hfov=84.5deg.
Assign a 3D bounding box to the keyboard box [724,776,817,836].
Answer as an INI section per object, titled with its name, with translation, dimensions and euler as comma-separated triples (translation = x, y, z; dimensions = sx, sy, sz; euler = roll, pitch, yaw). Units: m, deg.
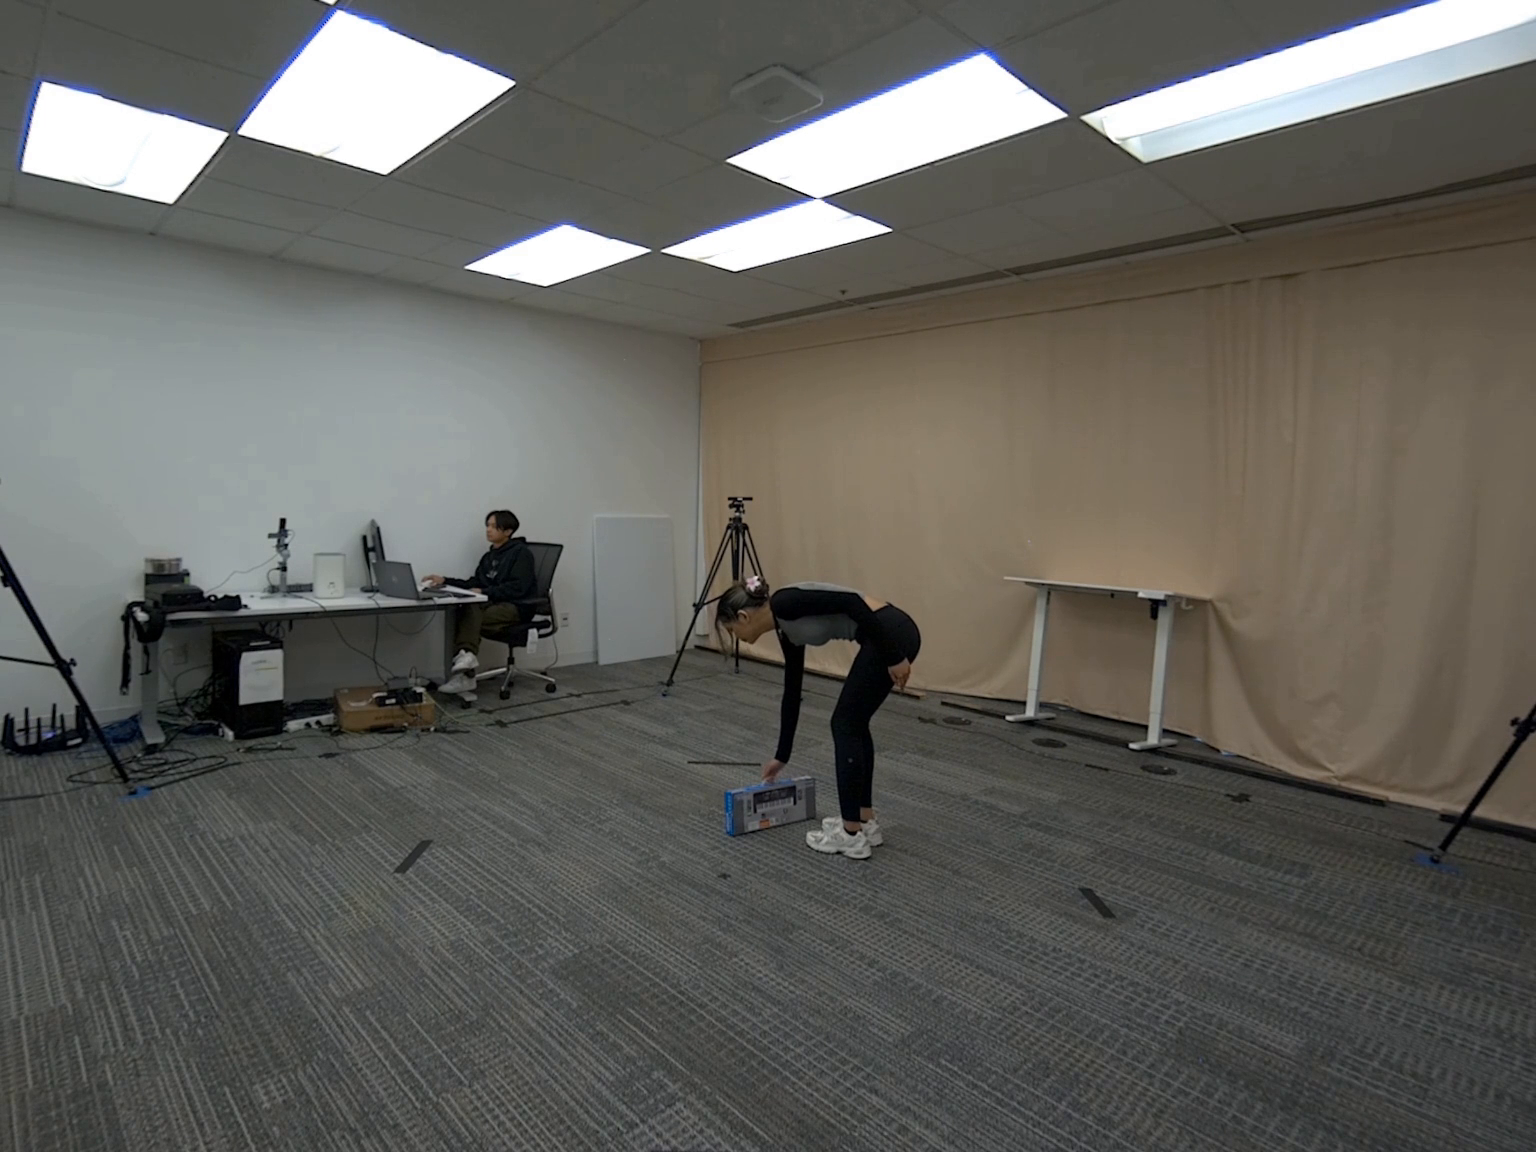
[keyboard box]
translation = 0.009, 0.981, 3.607
dimensions = 0.427, 0.176, 0.060
euler = -1, -2, -33
